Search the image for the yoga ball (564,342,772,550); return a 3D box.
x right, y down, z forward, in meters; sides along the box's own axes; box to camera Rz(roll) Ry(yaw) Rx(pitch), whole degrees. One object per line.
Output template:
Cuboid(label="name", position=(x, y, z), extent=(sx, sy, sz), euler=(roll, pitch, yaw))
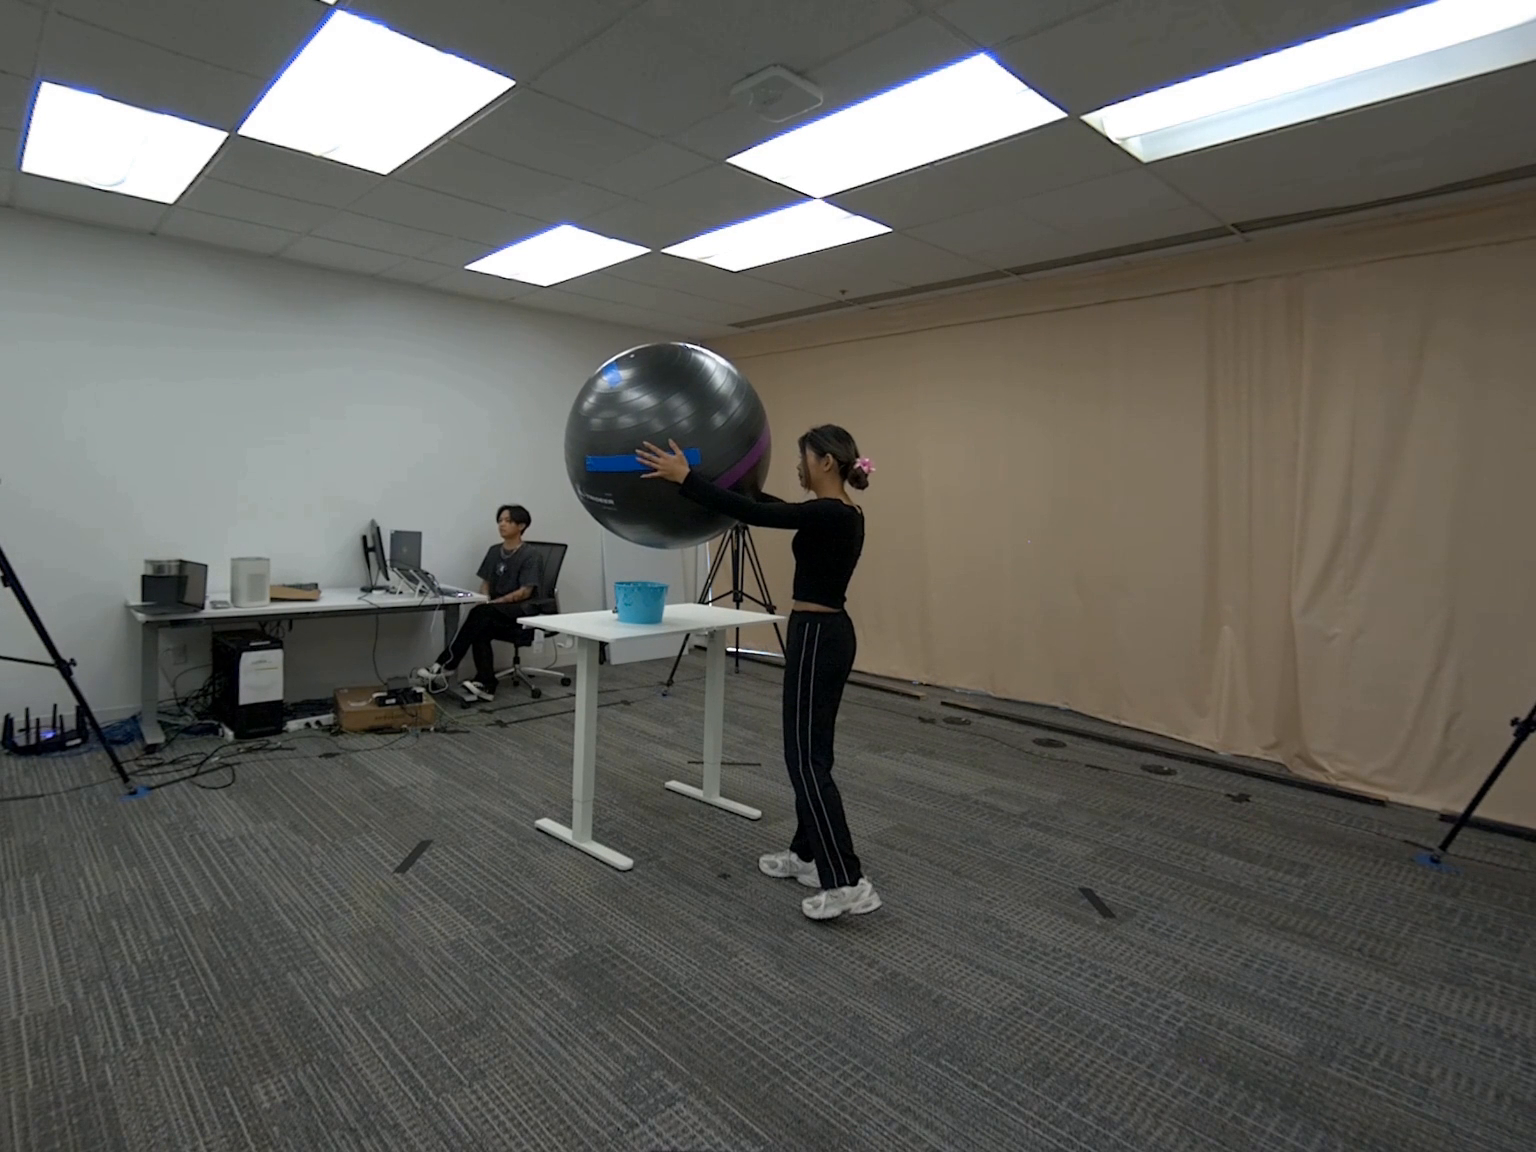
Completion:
Cuboid(label="yoga ball", position=(-0.372, -0.468, 3.111), extent=(0.757, 0.756, 0.760), euler=(1, 4, -1))
